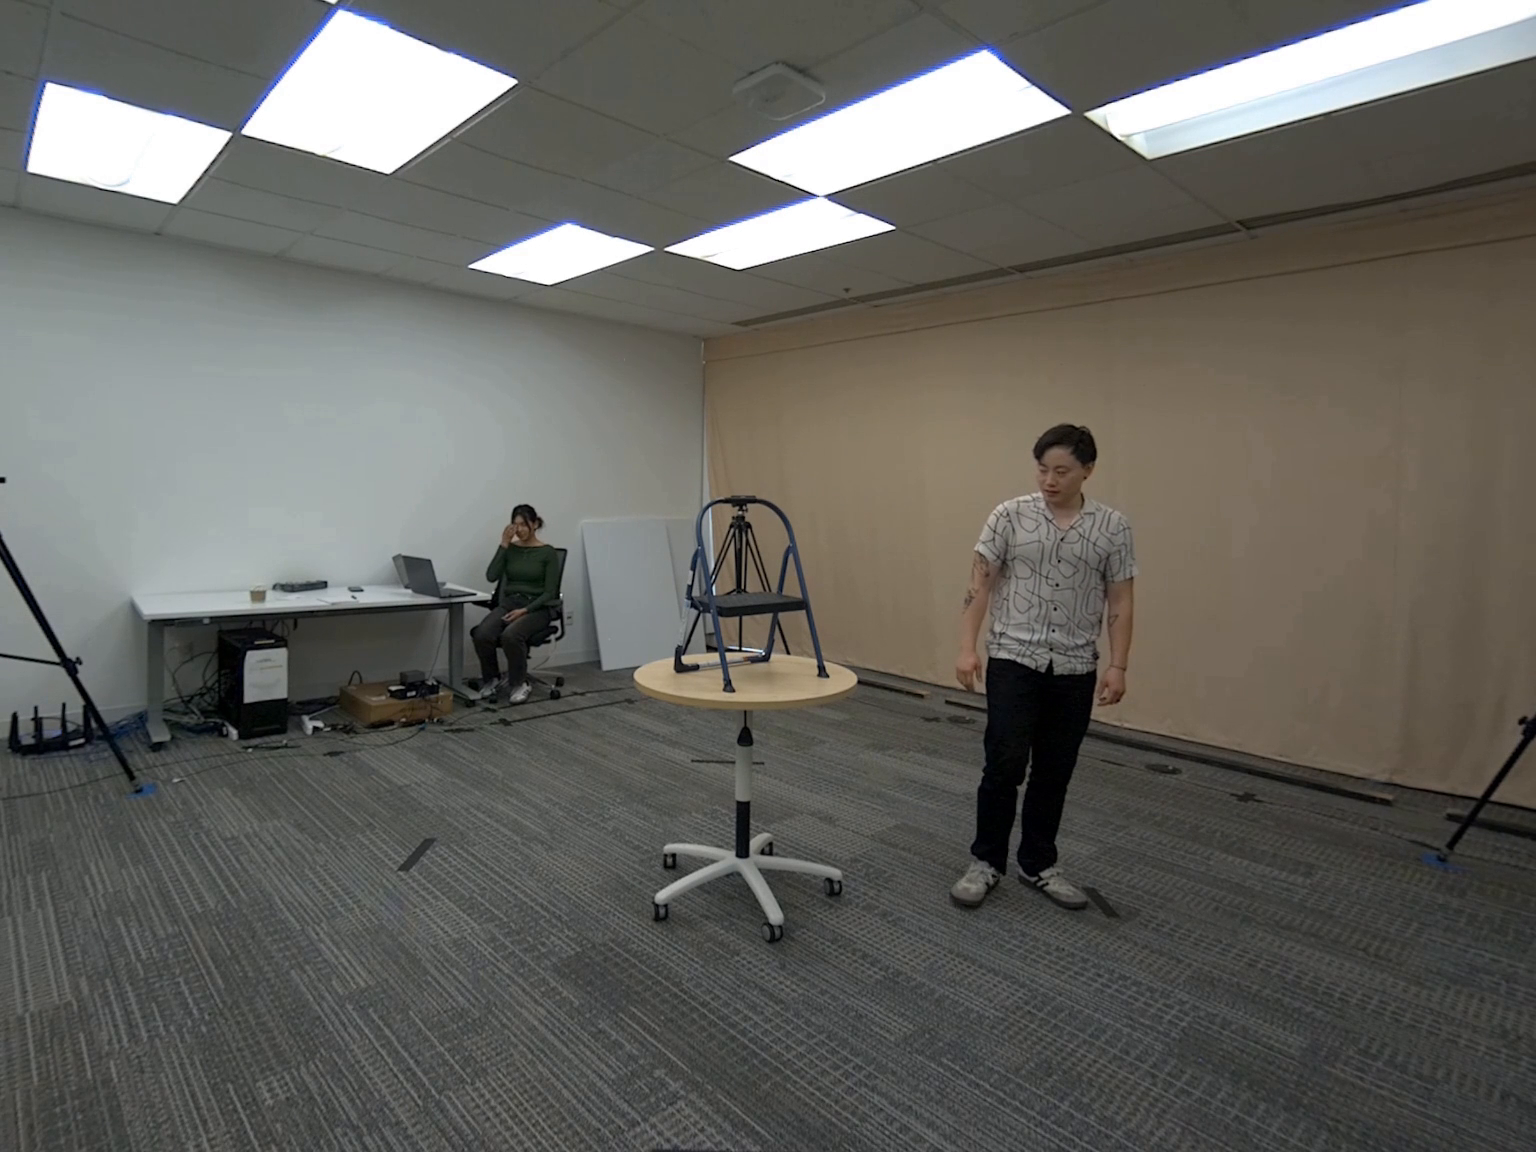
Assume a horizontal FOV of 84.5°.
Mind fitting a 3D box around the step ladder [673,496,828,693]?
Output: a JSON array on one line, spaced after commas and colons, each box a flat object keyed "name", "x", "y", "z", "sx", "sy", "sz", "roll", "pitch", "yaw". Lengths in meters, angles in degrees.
[{"name": "step ladder", "x": -0.062, "y": 0.040, "z": 2.864, "sx": 0.421, "sy": 0.604, "sz": 0.358, "roll": -2, "pitch": 6, "yaw": -37}]
